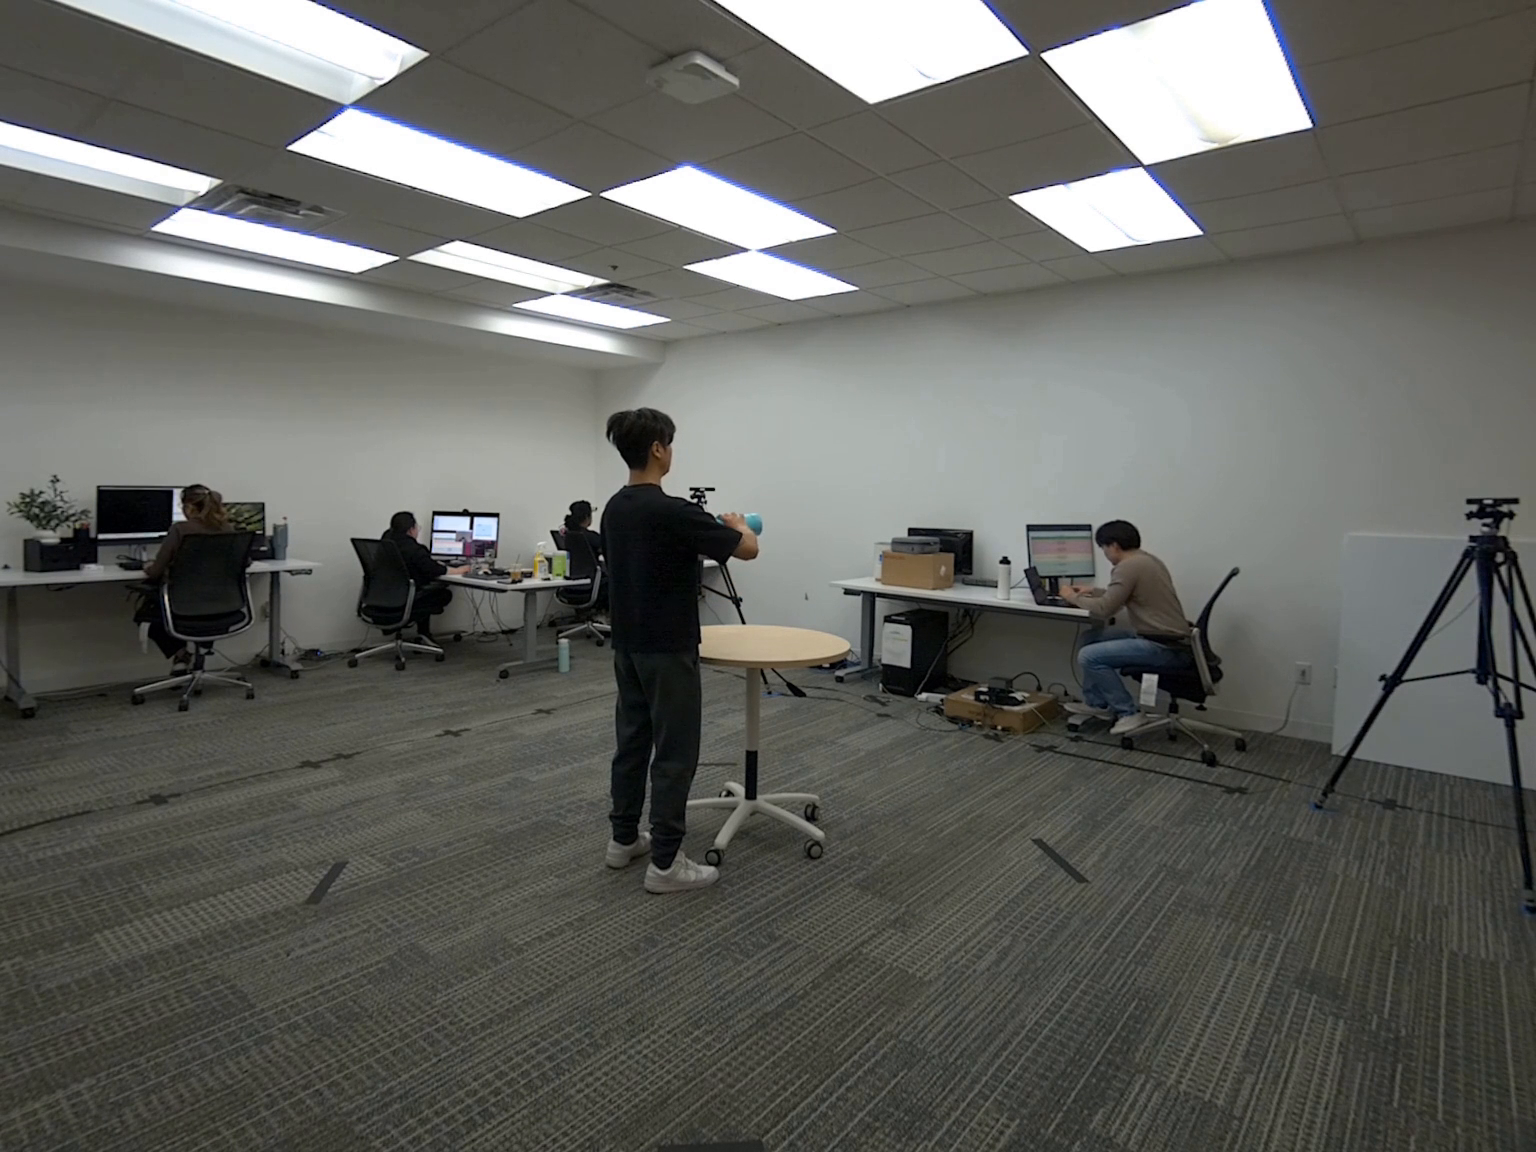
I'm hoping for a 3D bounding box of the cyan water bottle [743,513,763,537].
[{"bbox_3d":[-0.169,-0.173,3.237,0.279,0.092,0.094,-10,8,-19],"label":"cyan water bottle"}]
